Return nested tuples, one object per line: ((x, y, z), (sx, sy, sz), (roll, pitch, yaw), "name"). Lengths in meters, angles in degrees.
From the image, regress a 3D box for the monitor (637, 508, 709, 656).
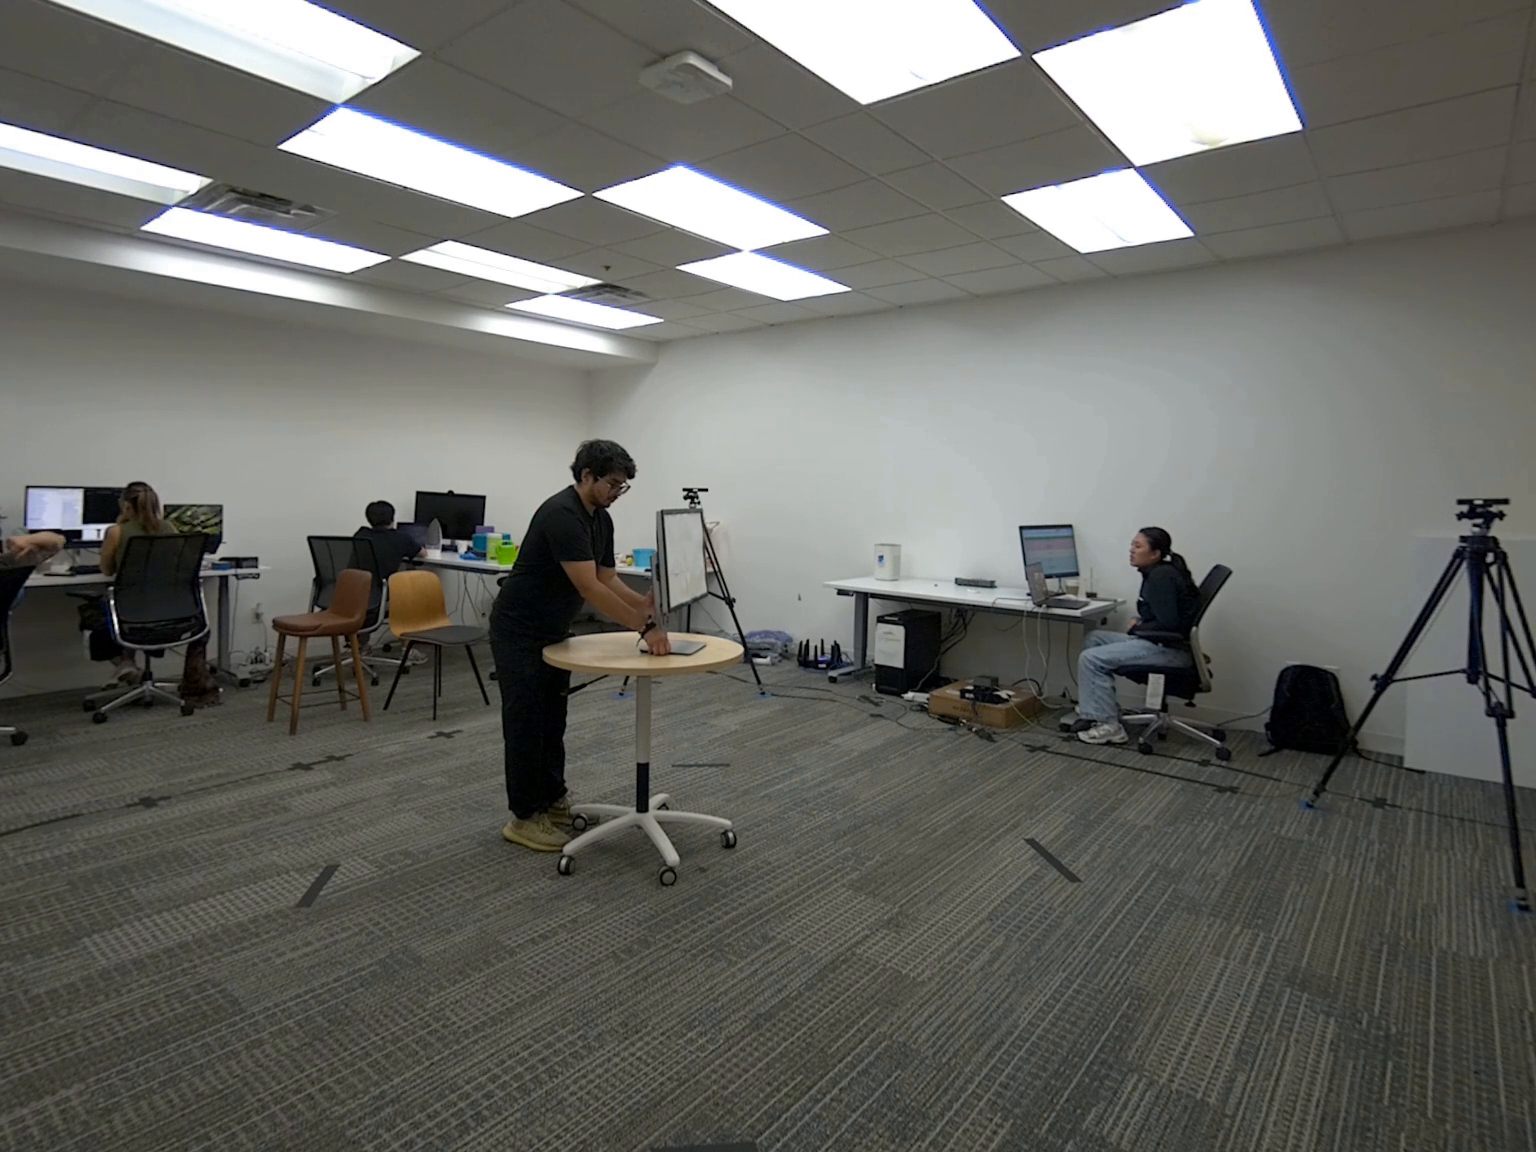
((-0.387, 0.015, 3.246), (0.213, 0.553, 0.559), (0, 3, 12), "monitor")
